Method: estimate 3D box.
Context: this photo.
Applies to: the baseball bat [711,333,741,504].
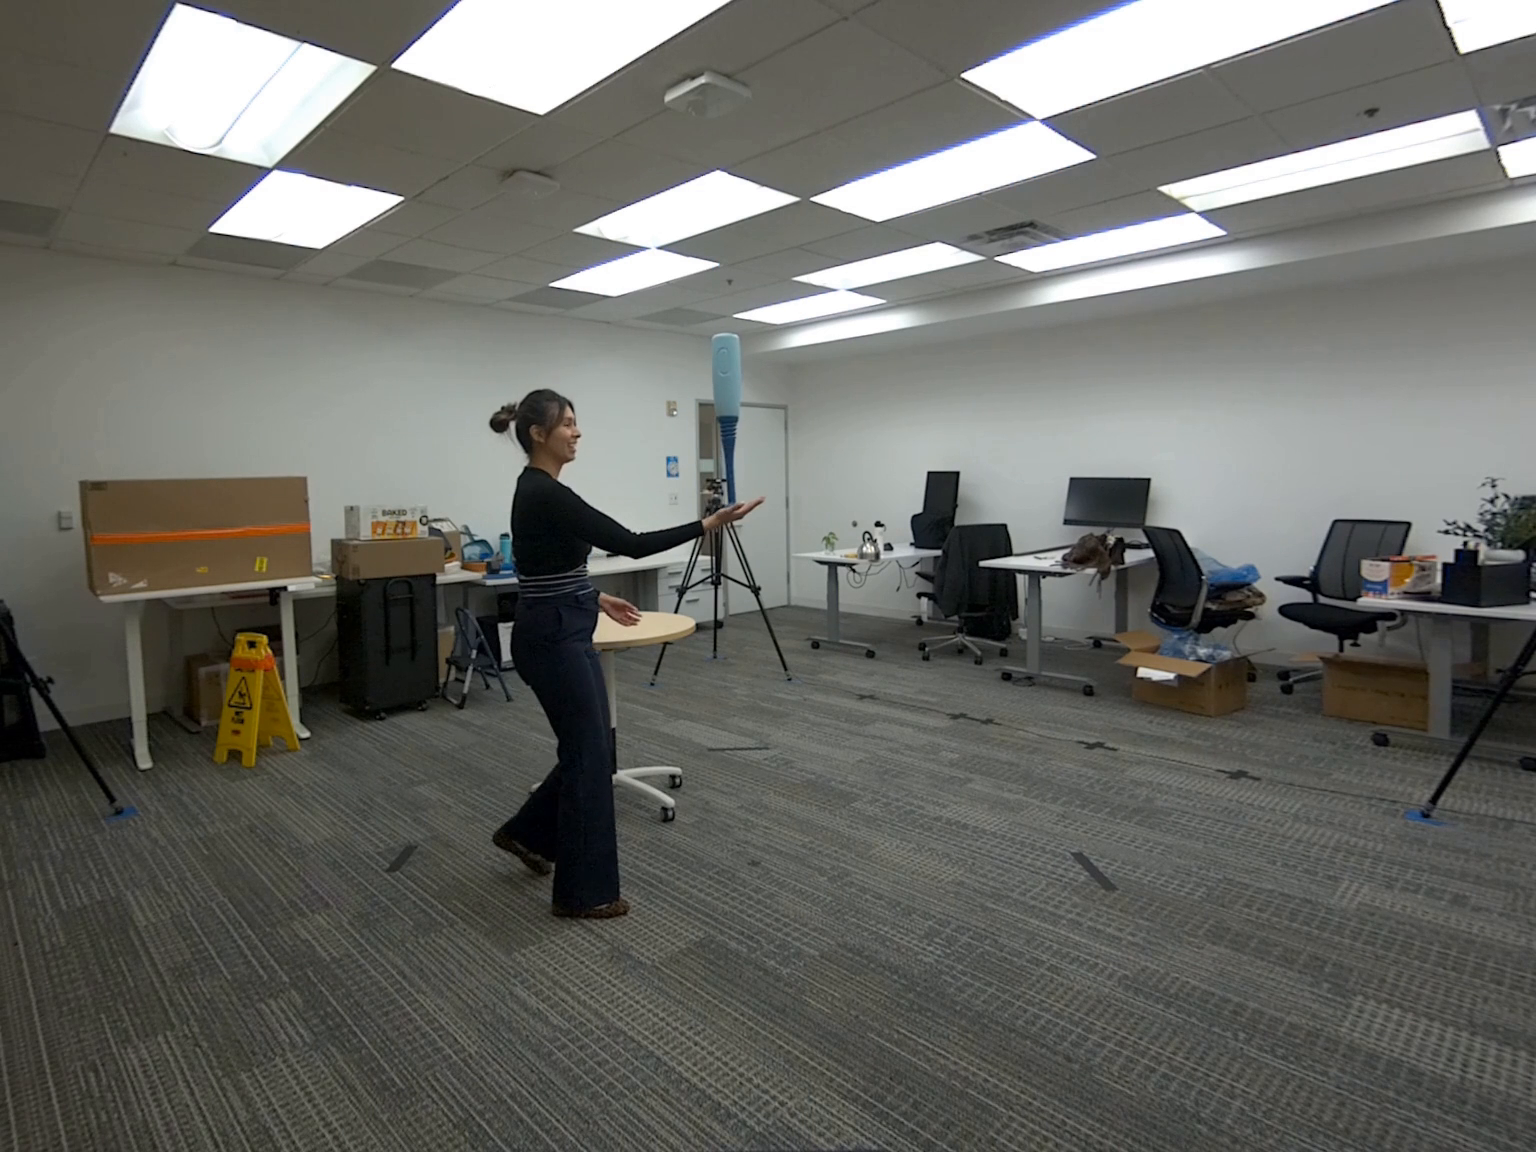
[{"bbox_3d":[-0.128,-0.466,2.616,0.089,0.543,0.089,-2,0,-2],"label":"baseball bat"}]
